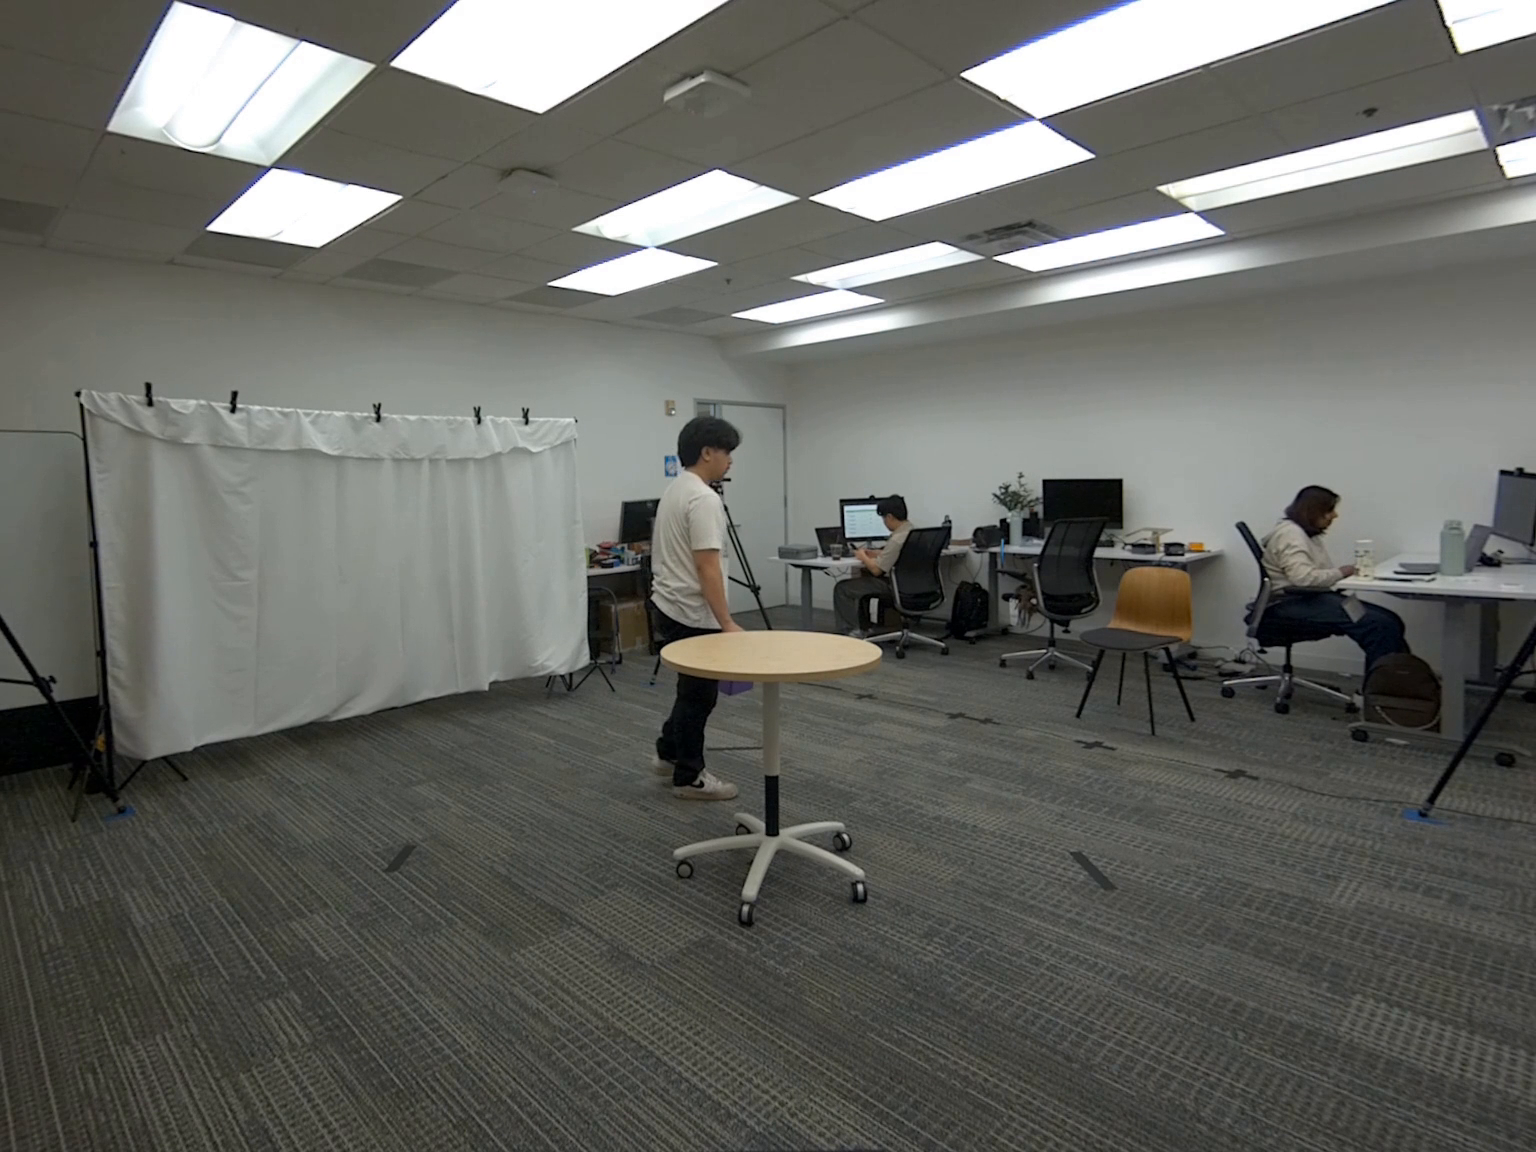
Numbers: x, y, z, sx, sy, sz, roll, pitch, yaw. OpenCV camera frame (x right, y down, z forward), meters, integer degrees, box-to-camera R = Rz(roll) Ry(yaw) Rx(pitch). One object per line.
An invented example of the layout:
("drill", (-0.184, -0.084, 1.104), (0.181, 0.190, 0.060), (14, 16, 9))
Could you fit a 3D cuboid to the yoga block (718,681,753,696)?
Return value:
("yoga block", (-0.126, 0.370, 3.548), (0.079, 0.227, 0.145), (16, 15, 41))
